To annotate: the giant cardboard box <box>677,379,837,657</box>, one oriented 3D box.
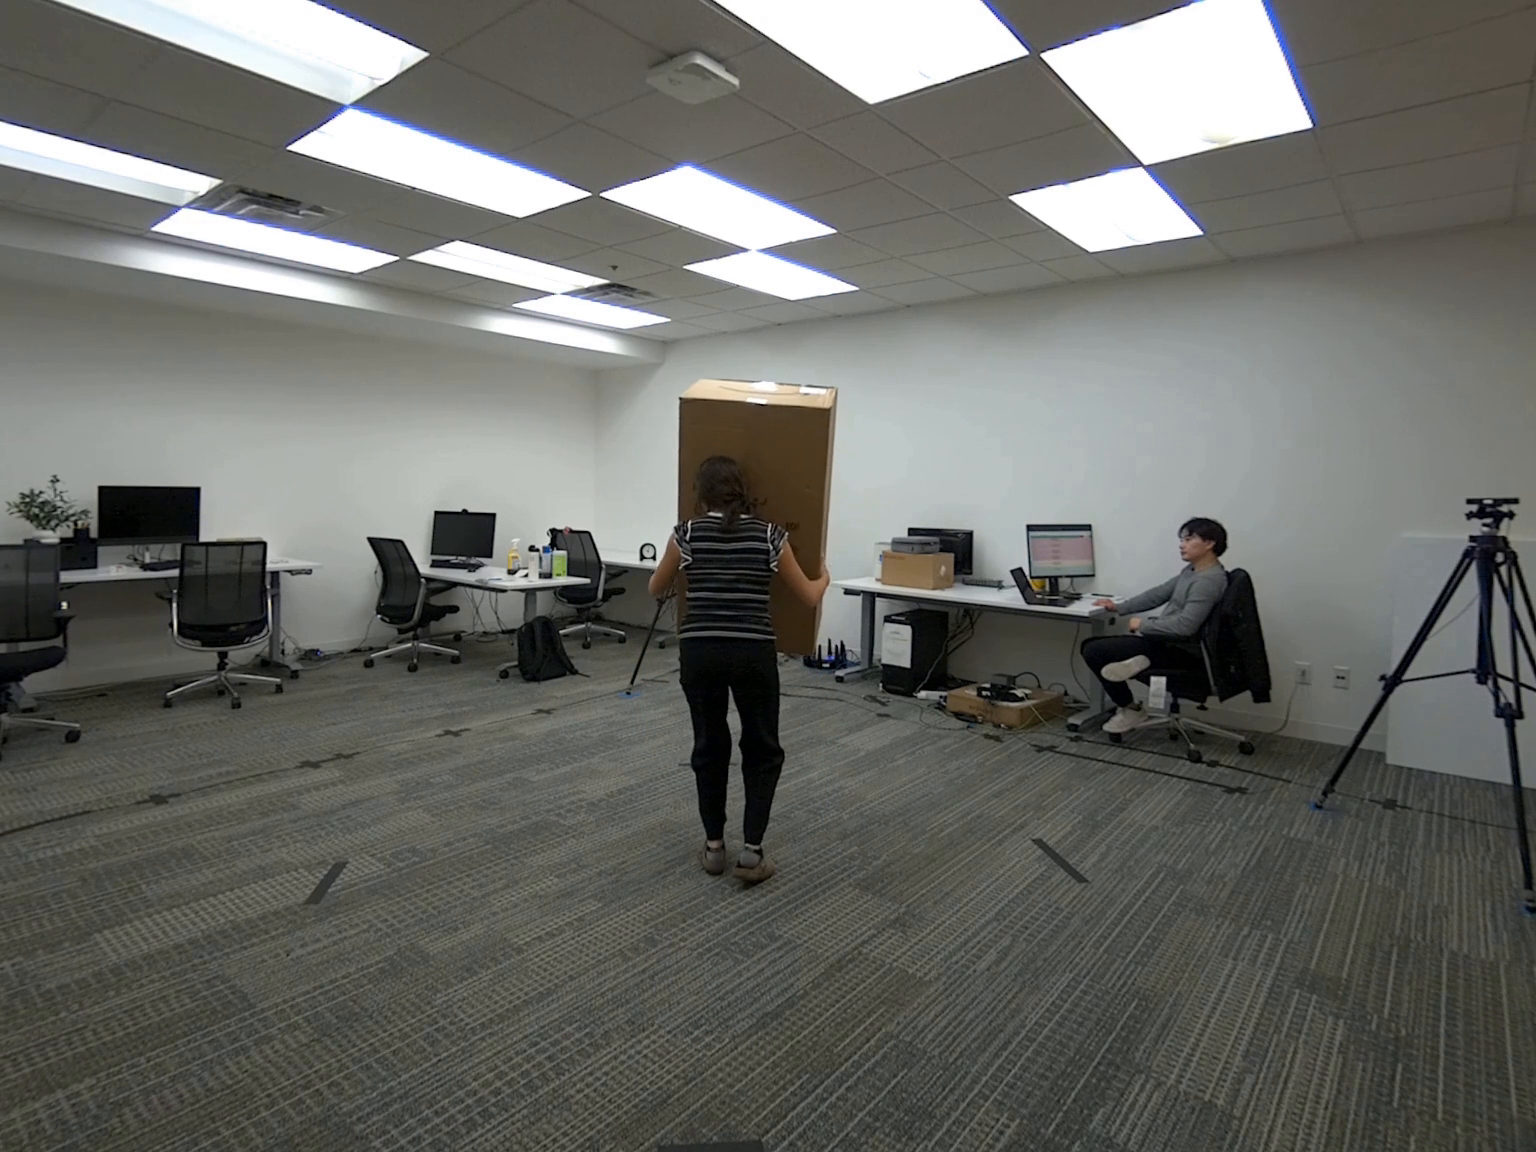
[{"bbox_3d":[-0.058,-0.245,3.507,0.584,1.008,0.429,6,21,9],"label":"giant cardboard box"}]
